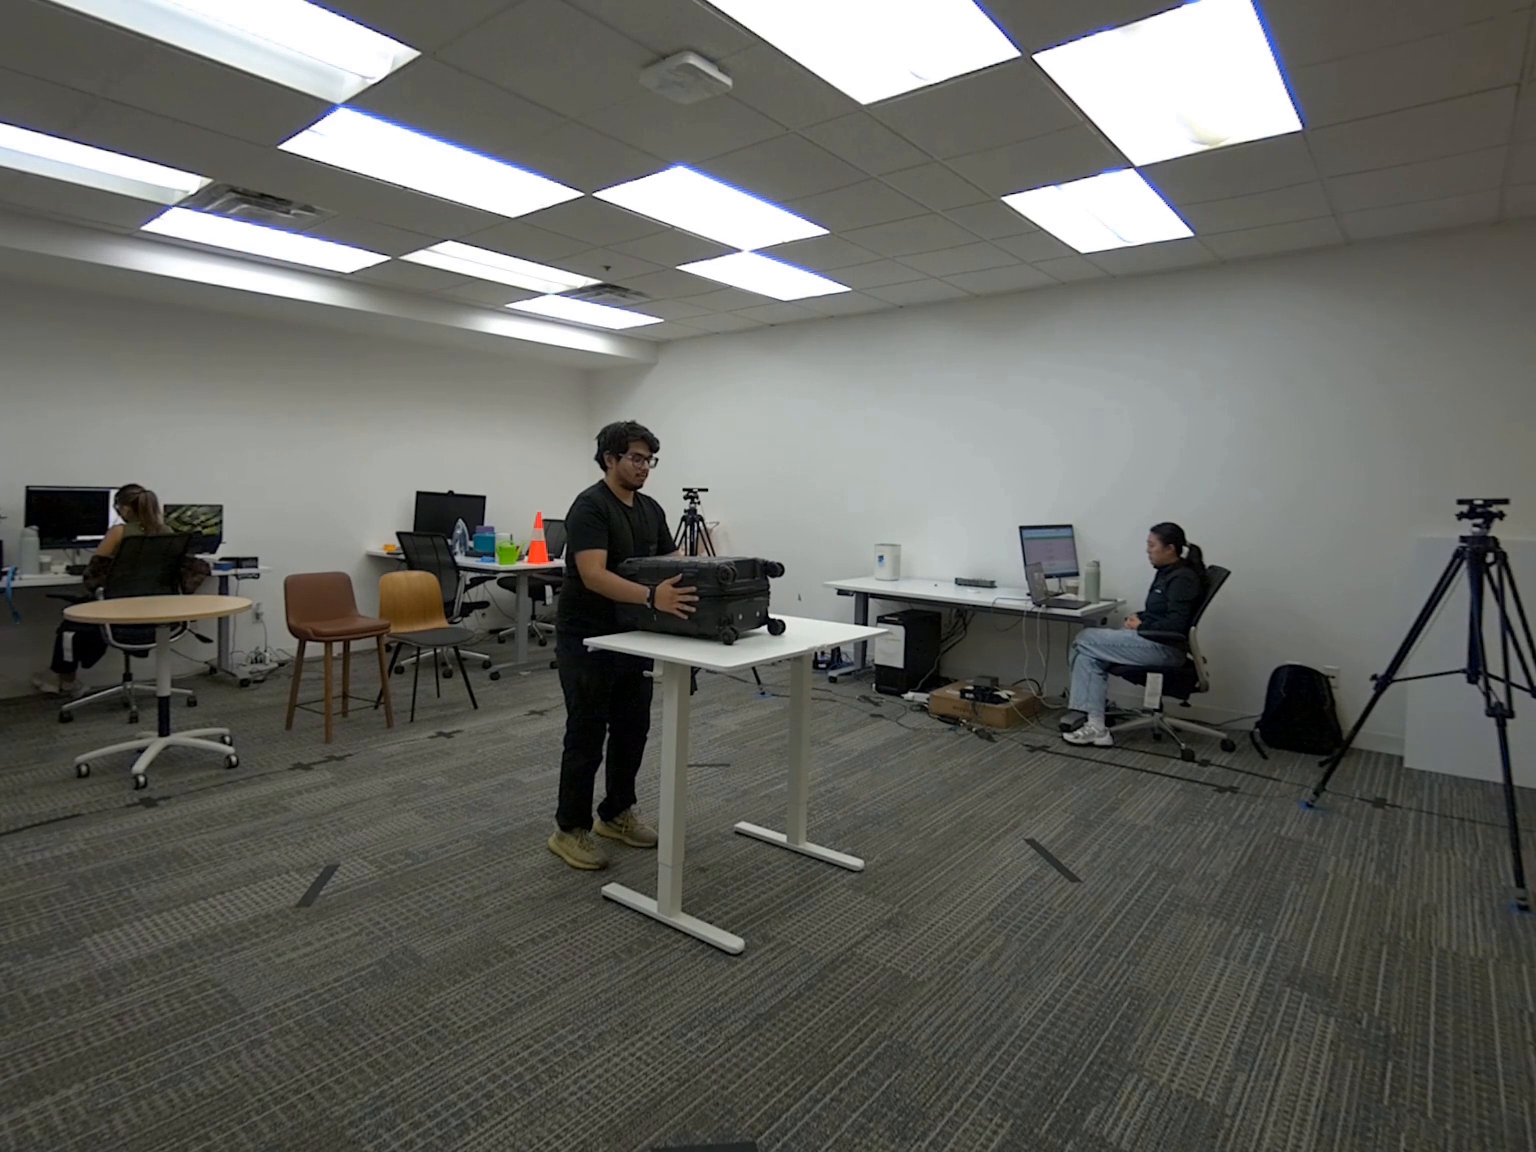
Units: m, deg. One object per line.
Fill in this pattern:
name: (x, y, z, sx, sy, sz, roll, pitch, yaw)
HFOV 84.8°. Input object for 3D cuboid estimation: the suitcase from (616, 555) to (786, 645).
suitcase: (-0.268, 0.070, 3.016, 0.567, 0.247, 0.365, 2, 5, 36)
